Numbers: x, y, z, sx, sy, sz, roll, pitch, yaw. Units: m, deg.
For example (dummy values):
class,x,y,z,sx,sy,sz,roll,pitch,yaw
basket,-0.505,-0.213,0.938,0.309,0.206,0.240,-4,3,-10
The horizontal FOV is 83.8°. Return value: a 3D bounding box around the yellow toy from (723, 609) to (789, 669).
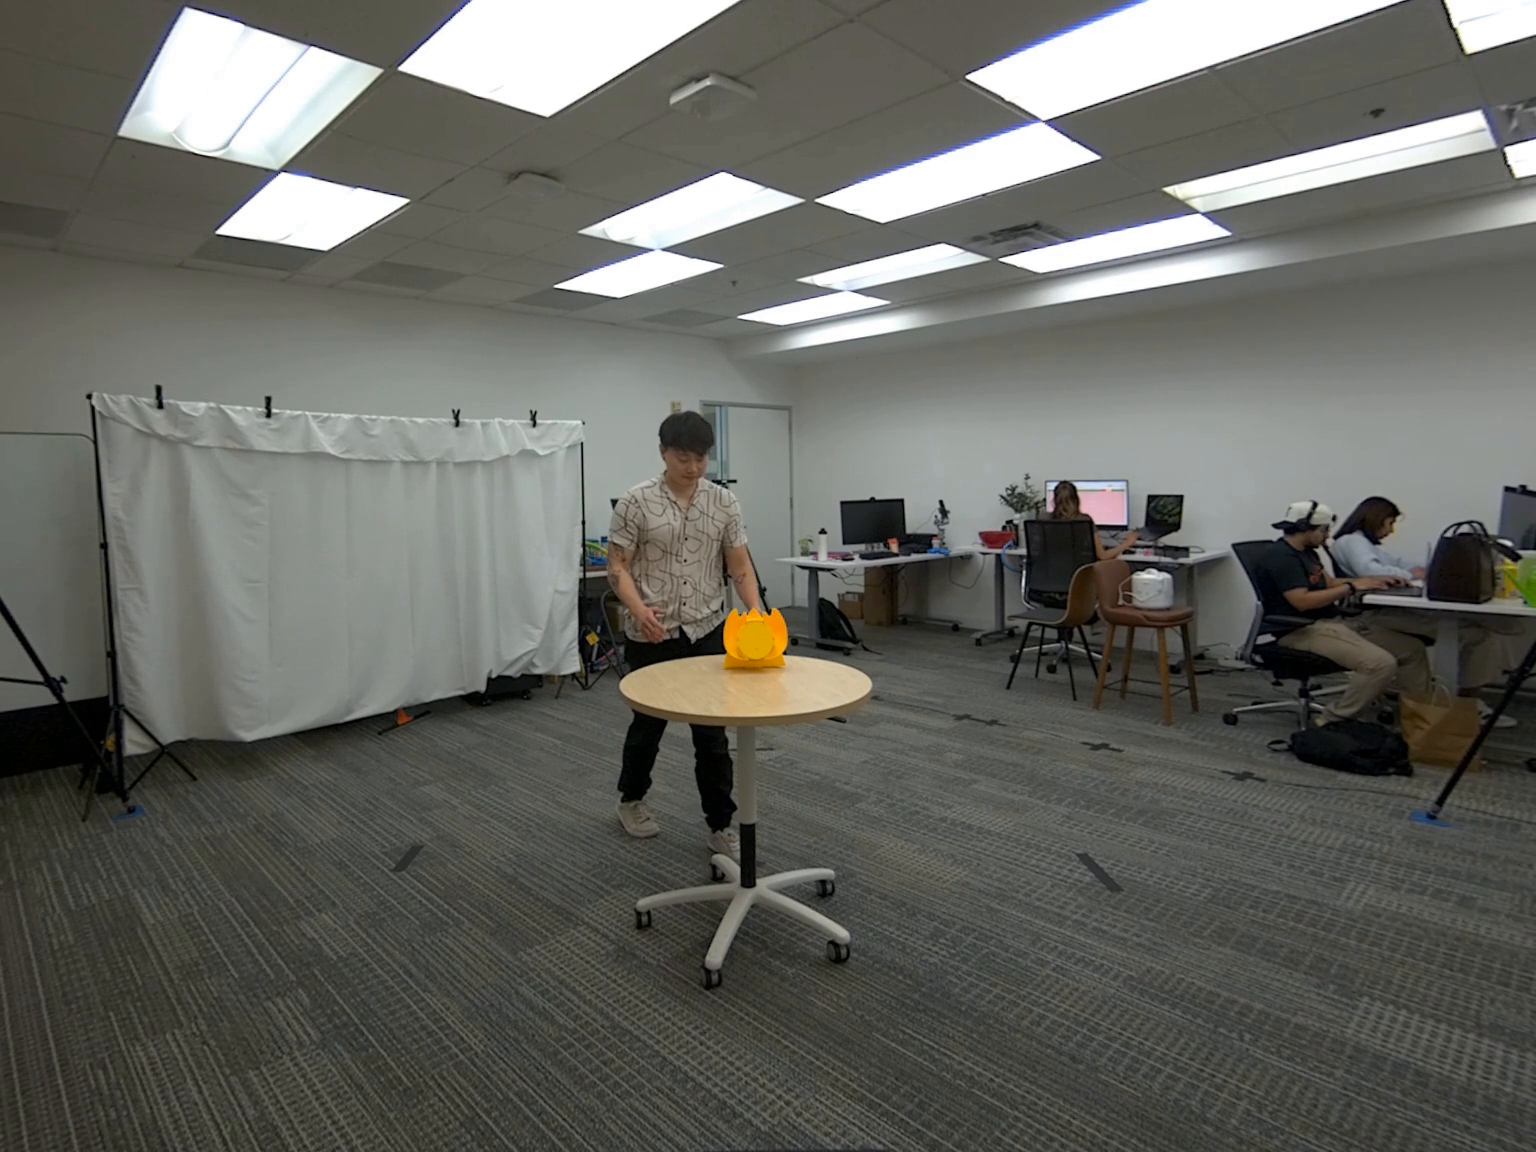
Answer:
class,x,y,z,sx,sy,sz,roll,pitch,yaw
yellow toy,-0.050,0.207,2.819,0.204,0.194,0.230,-2,-7,-5
